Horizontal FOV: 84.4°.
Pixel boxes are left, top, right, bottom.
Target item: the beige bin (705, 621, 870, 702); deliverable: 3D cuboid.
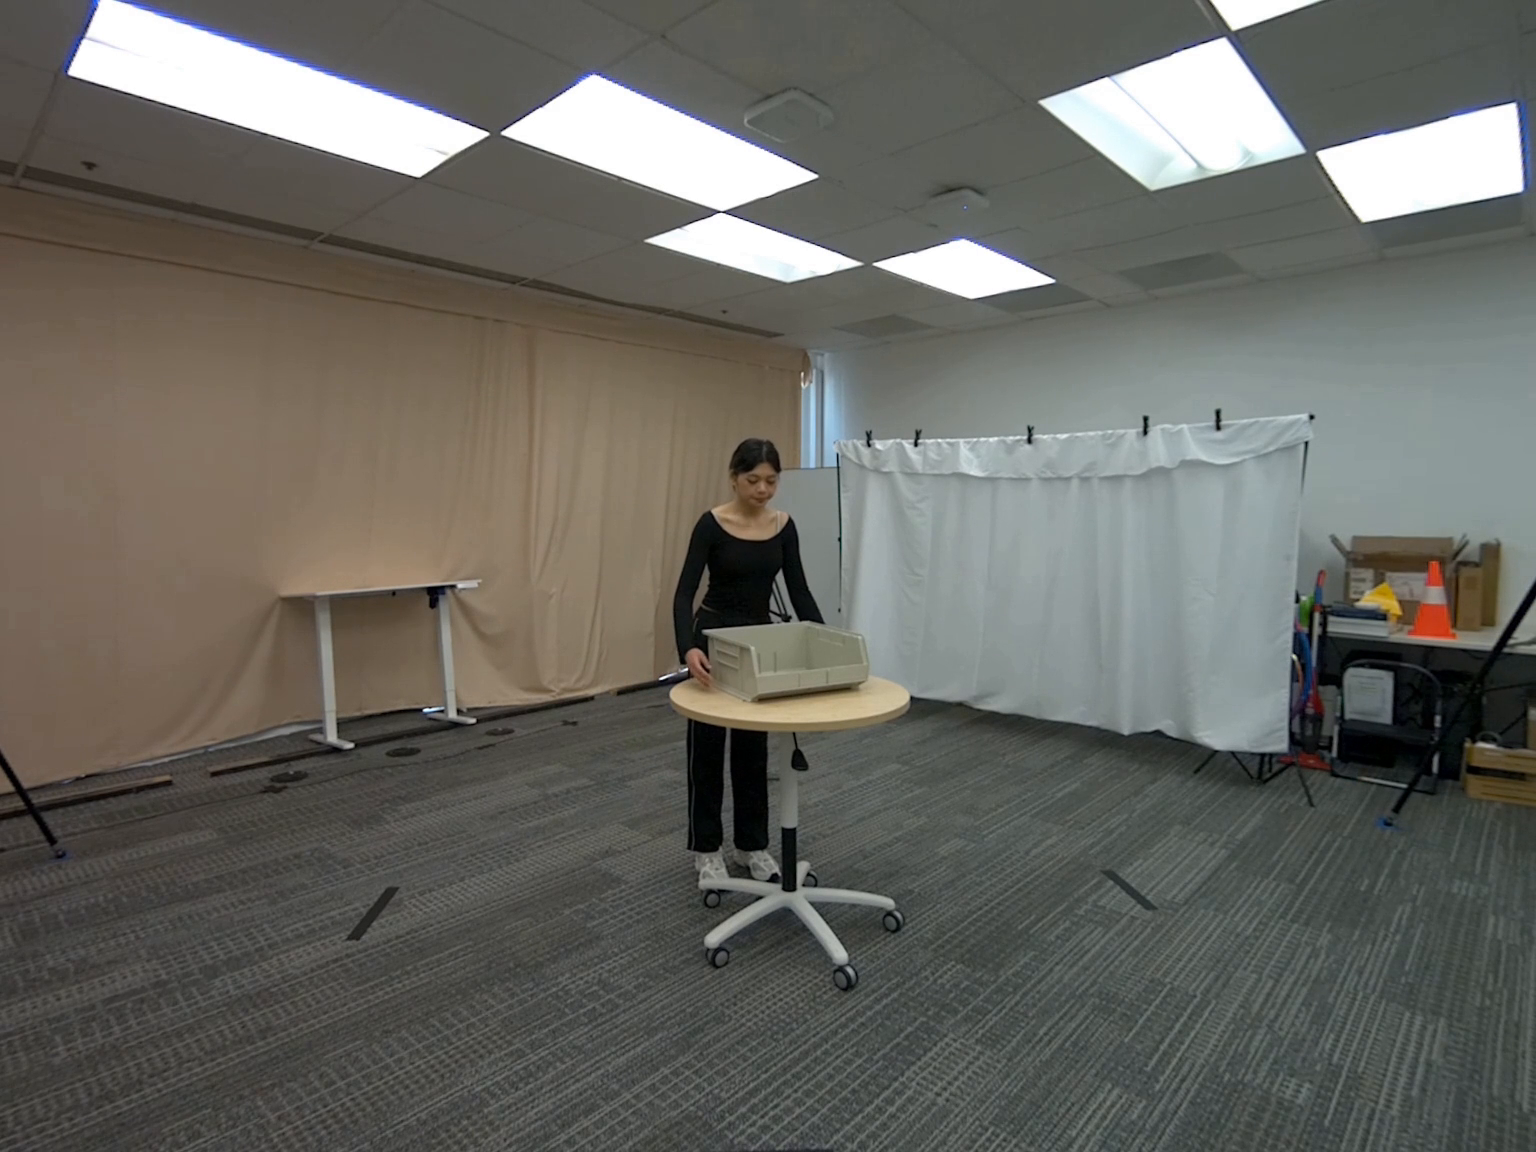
[{"bbox_3d":[0.060,0.277,2.775,0.412,0.188,0.388,-3,5,-28],"label":"beige bin"}]
